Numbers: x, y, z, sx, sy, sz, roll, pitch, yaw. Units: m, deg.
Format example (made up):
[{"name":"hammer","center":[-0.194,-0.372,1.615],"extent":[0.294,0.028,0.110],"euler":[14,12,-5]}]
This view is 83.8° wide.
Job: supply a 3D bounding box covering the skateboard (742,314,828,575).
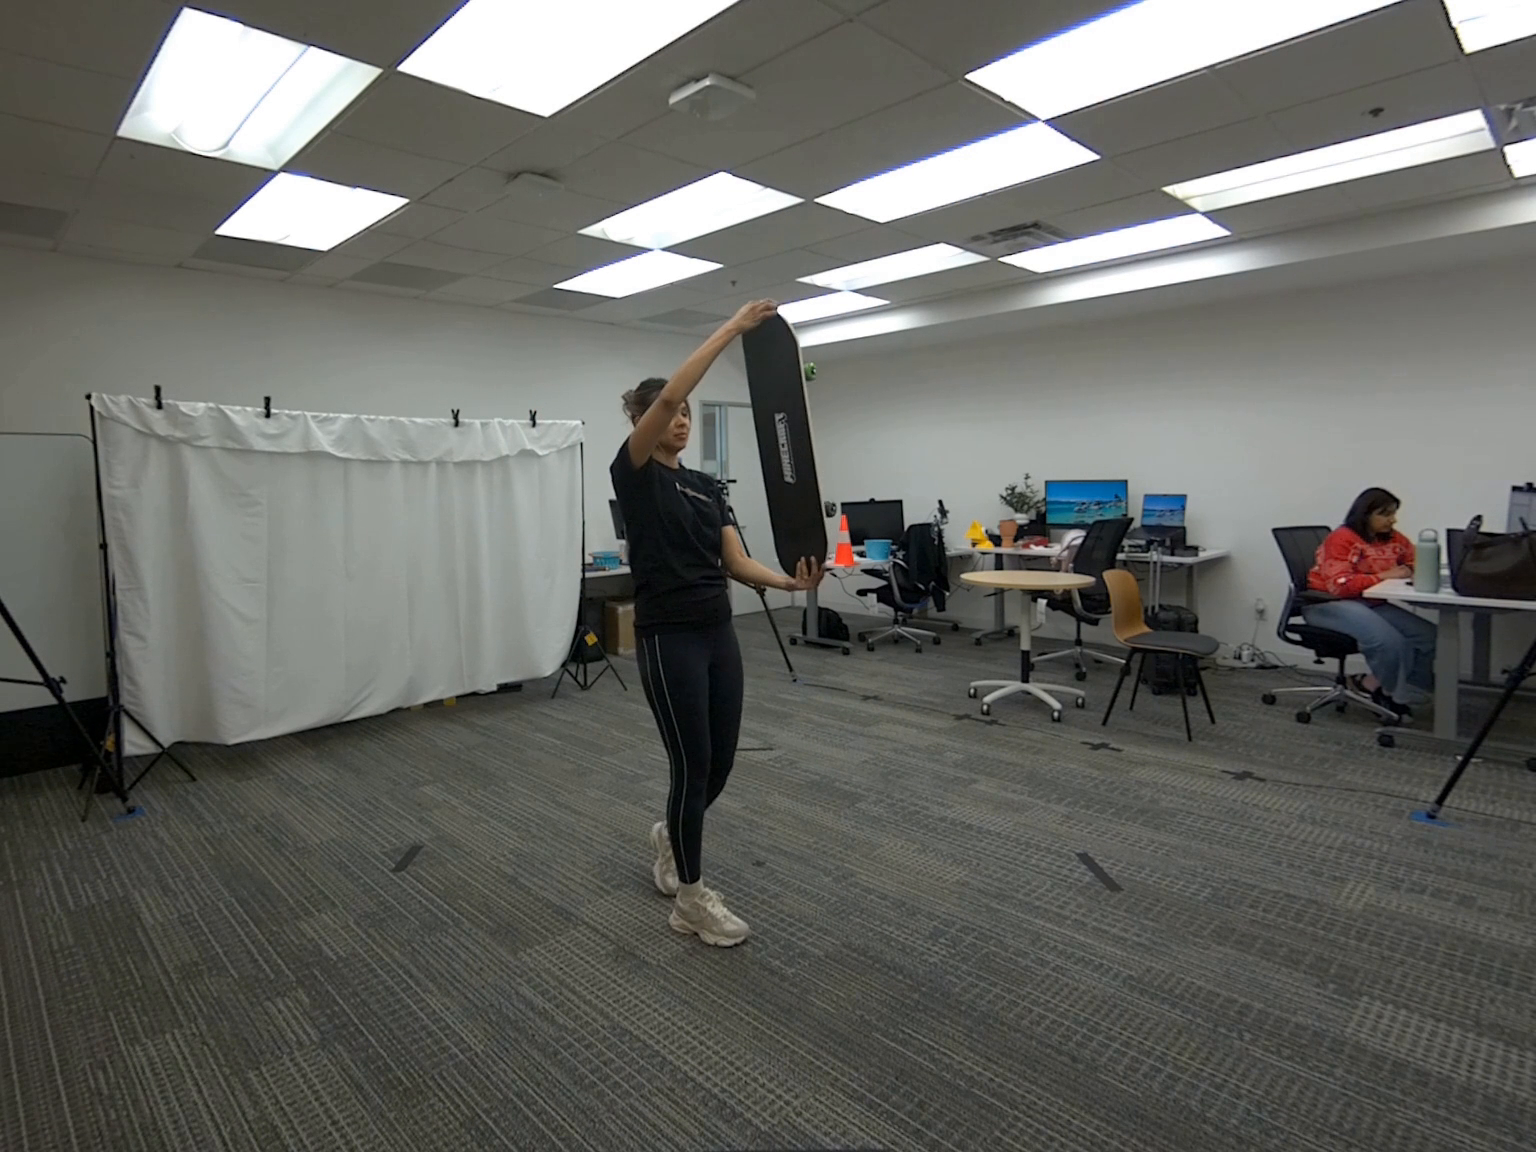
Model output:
[{"name":"skateboard","center":[0.070,-0.373,2.482],"extent":[0.199,0.776,0.108],"euler":[2,15,39]}]
